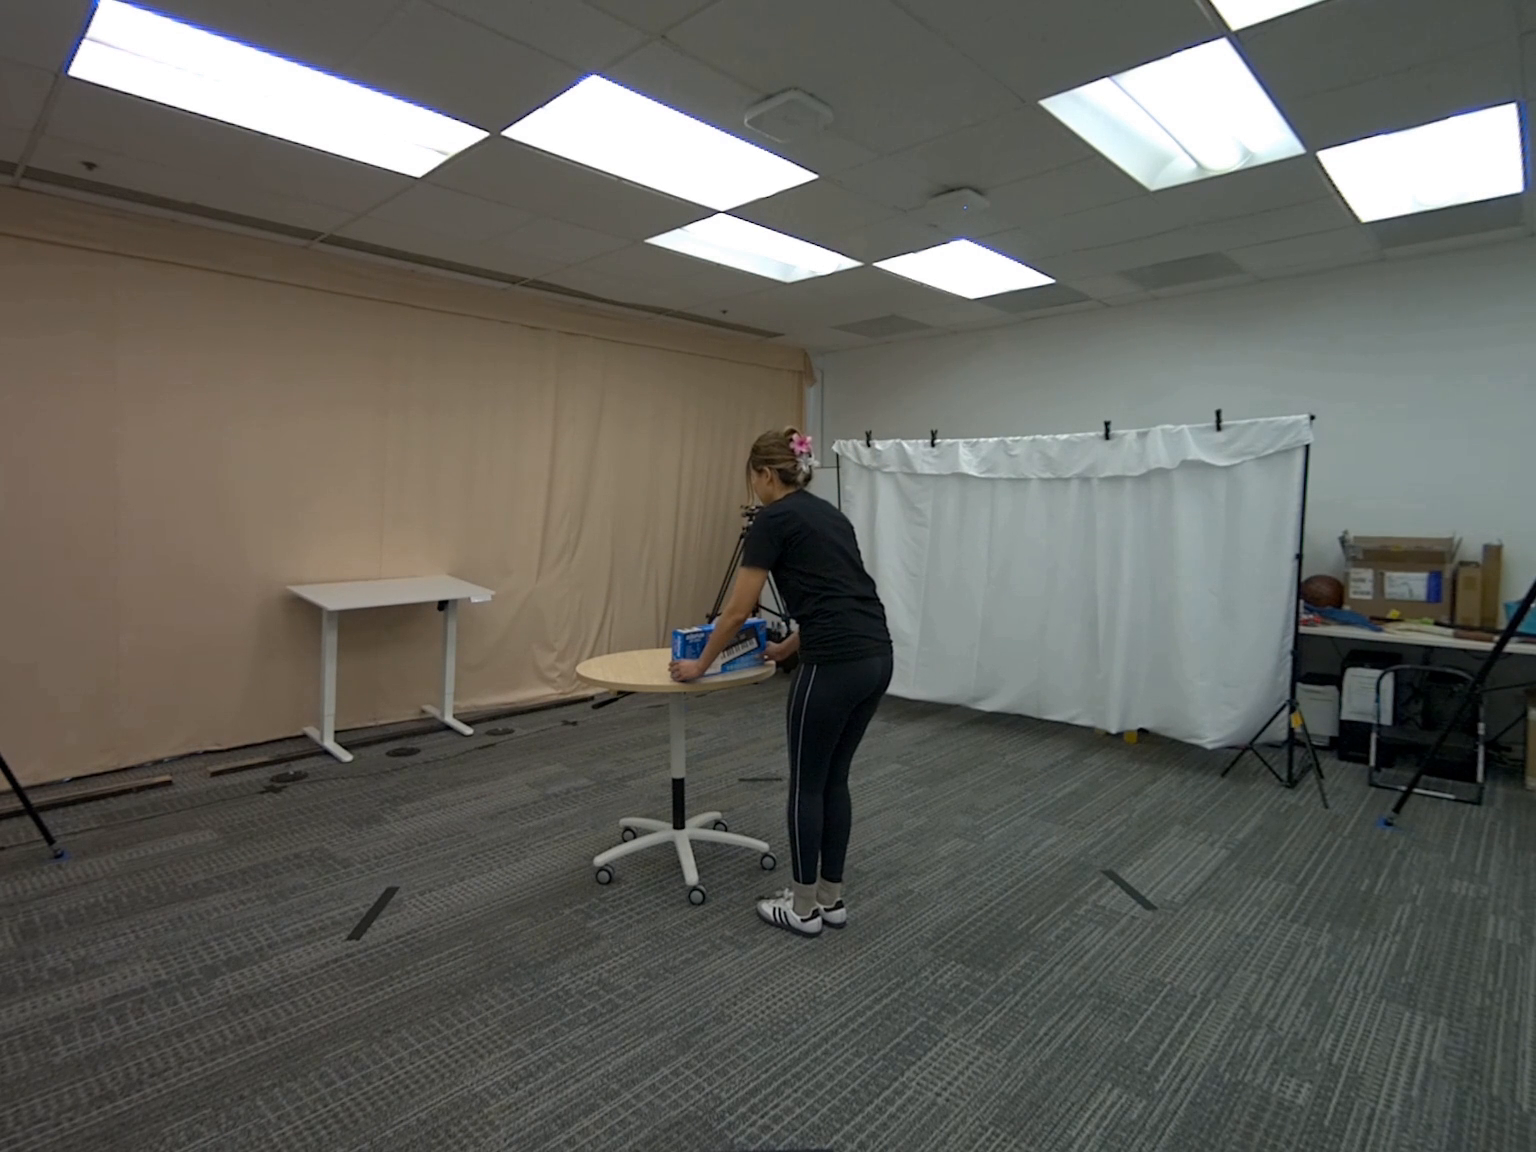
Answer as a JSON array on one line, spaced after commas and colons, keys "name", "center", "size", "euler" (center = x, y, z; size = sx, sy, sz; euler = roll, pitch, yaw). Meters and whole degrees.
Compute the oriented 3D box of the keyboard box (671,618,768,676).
[{"name": "keyboard box", "center": [-0.172, 0.265, 3.067], "size": [0.061, 0.175, 0.424], "euler": [9, 10, 42]}]
